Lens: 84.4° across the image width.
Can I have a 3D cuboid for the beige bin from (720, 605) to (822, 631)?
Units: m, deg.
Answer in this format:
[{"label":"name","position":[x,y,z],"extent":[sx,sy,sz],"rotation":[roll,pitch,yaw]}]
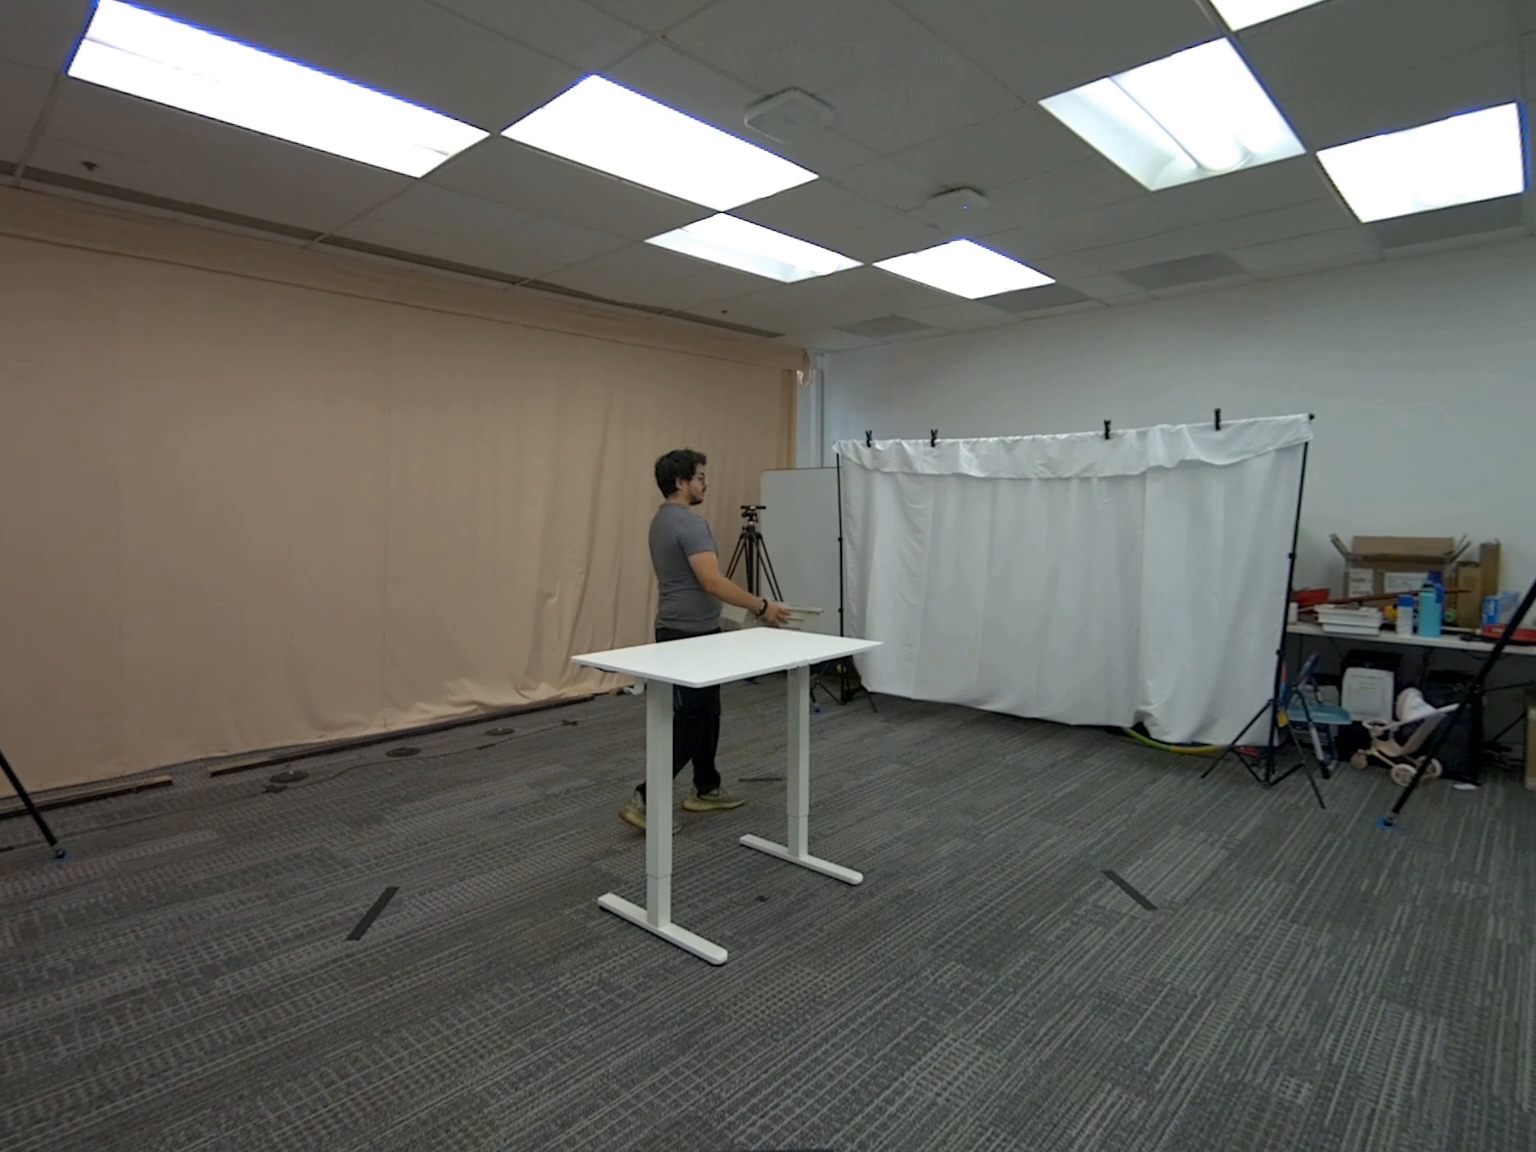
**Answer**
[{"label":"beige bin","position":[-0.013,0.201,3.887],"extent":[0.369,0.189,0.431],"rotation":[5,-1,-21]}]
